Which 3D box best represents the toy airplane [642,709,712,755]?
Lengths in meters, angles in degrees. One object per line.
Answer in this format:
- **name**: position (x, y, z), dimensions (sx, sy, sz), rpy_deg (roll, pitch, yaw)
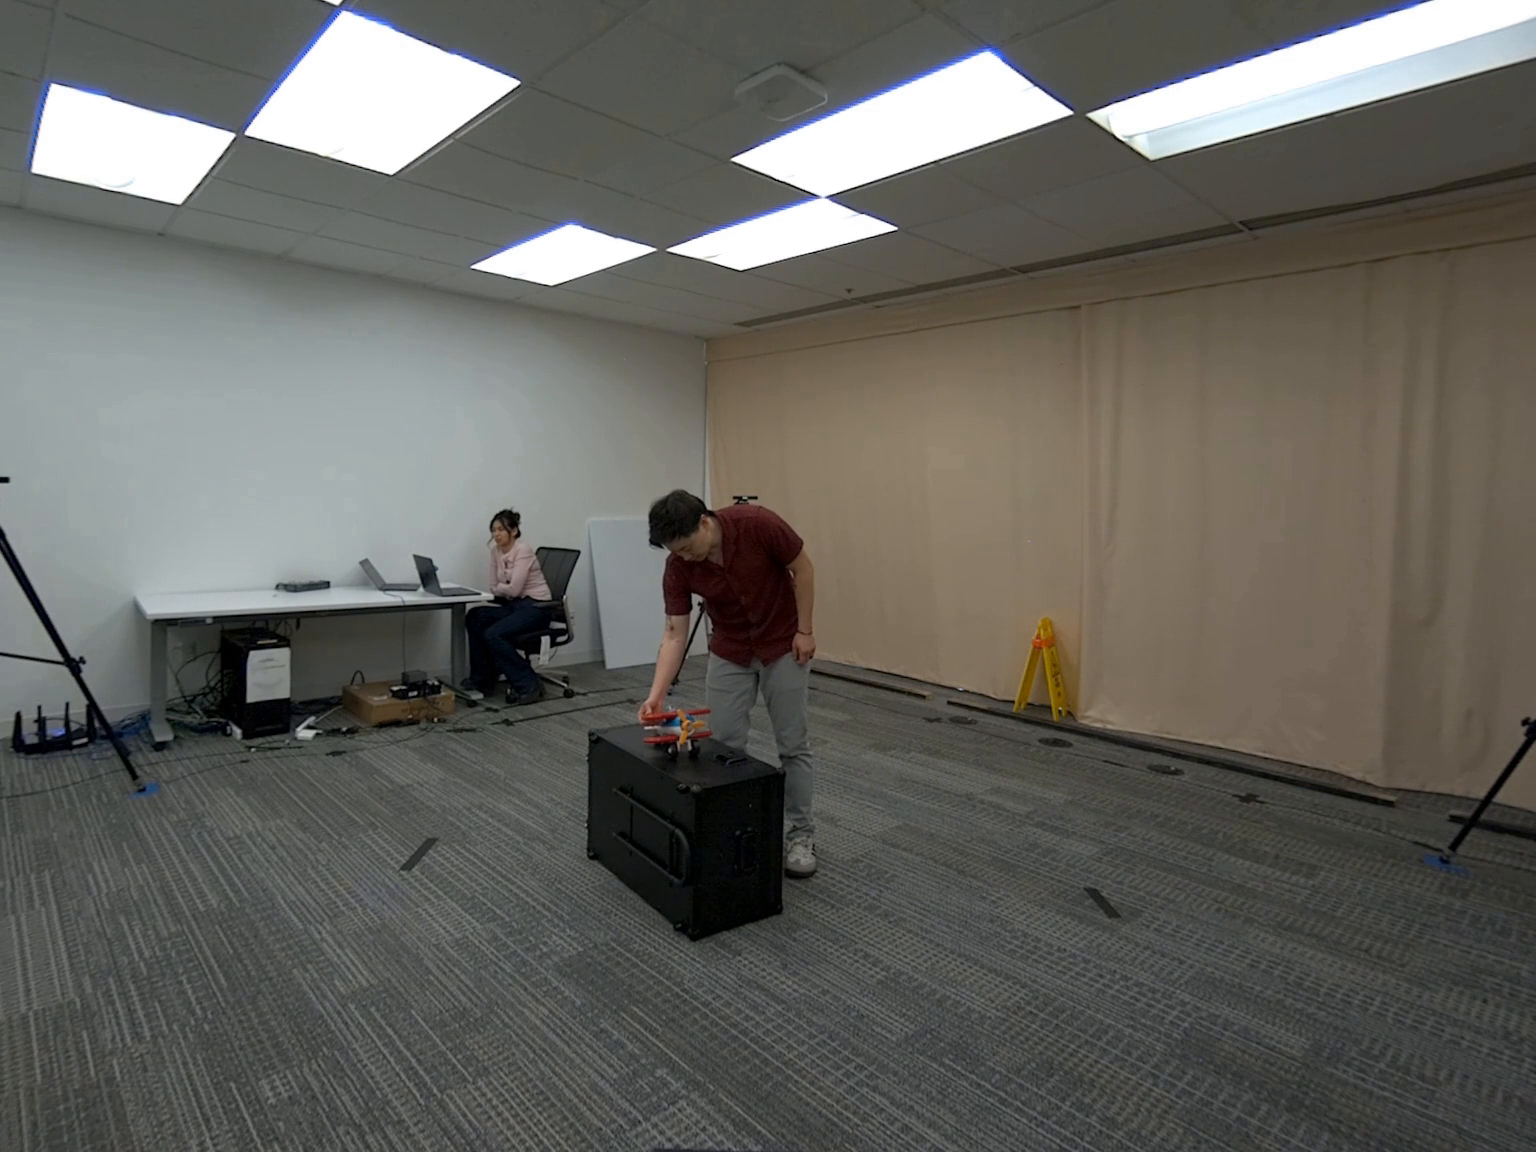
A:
- **toy airplane**: position (-0.362, 0.550, 3.001), dimensions (0.265, 0.156, 0.246), rpy_deg (5, 7, 33)
